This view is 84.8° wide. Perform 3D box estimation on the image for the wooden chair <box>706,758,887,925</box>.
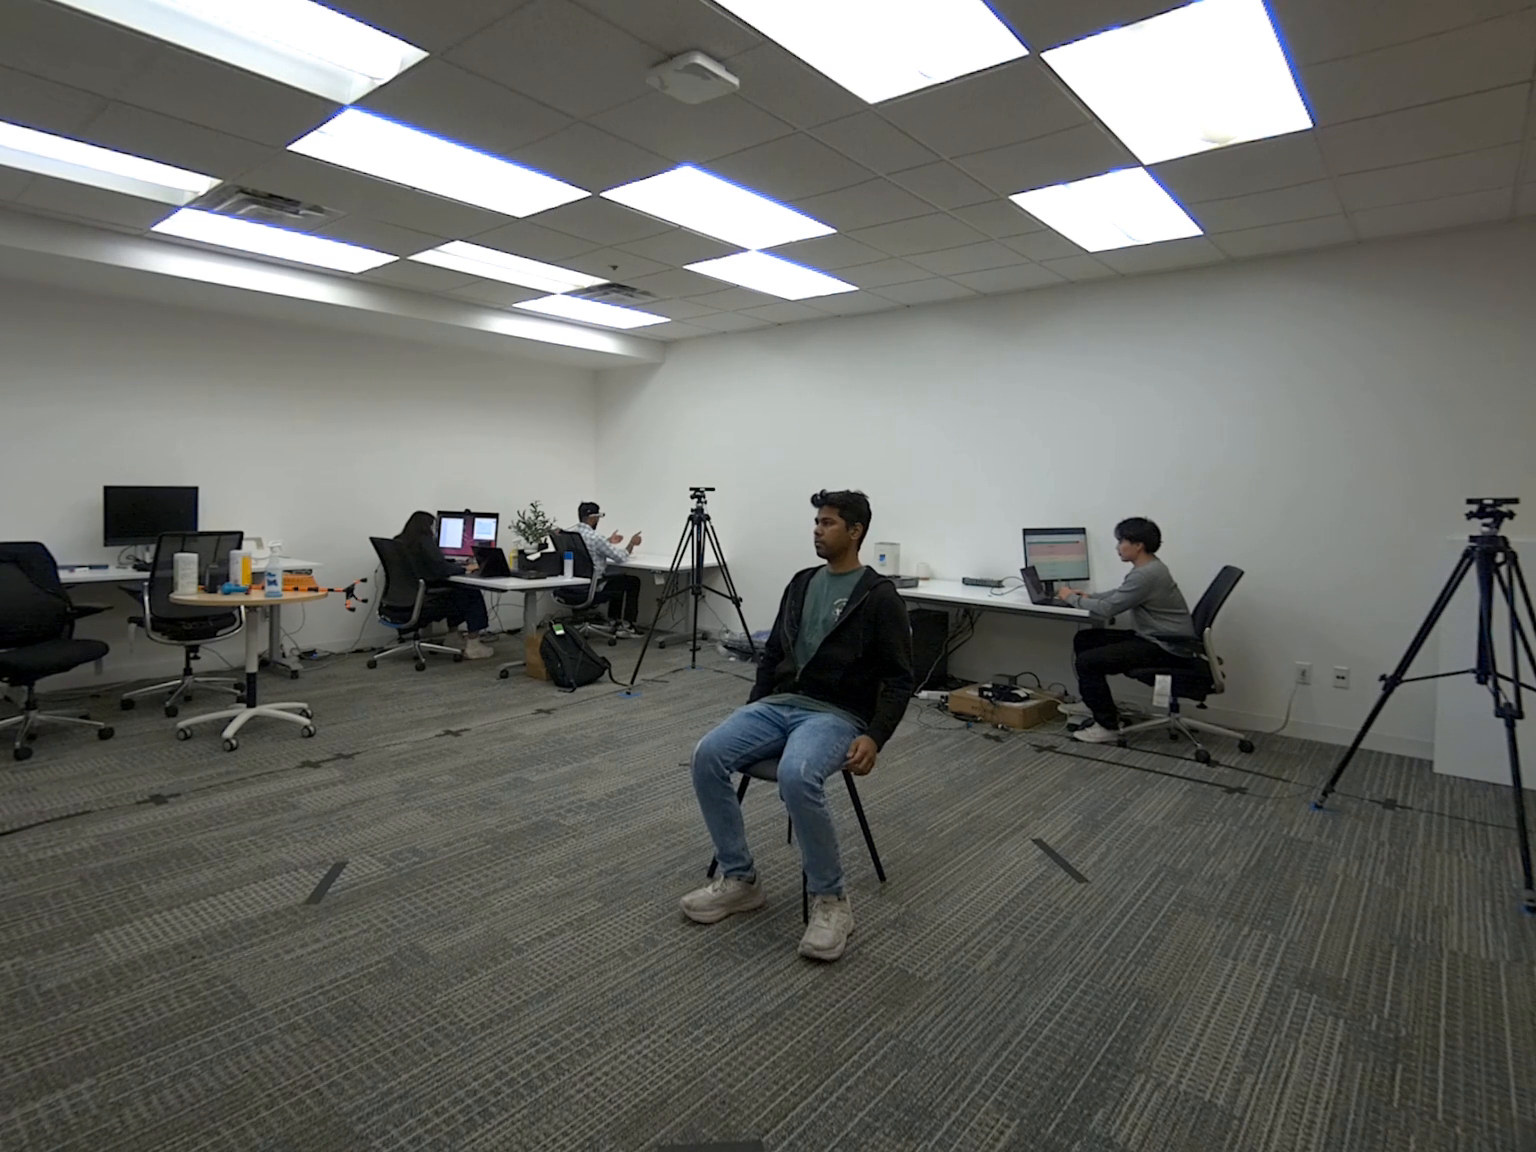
[{"bbox_3d":[0.099,0.653,3.011,0.494,0.877,0.506,4,0,43],"label":"wooden chair"}]
